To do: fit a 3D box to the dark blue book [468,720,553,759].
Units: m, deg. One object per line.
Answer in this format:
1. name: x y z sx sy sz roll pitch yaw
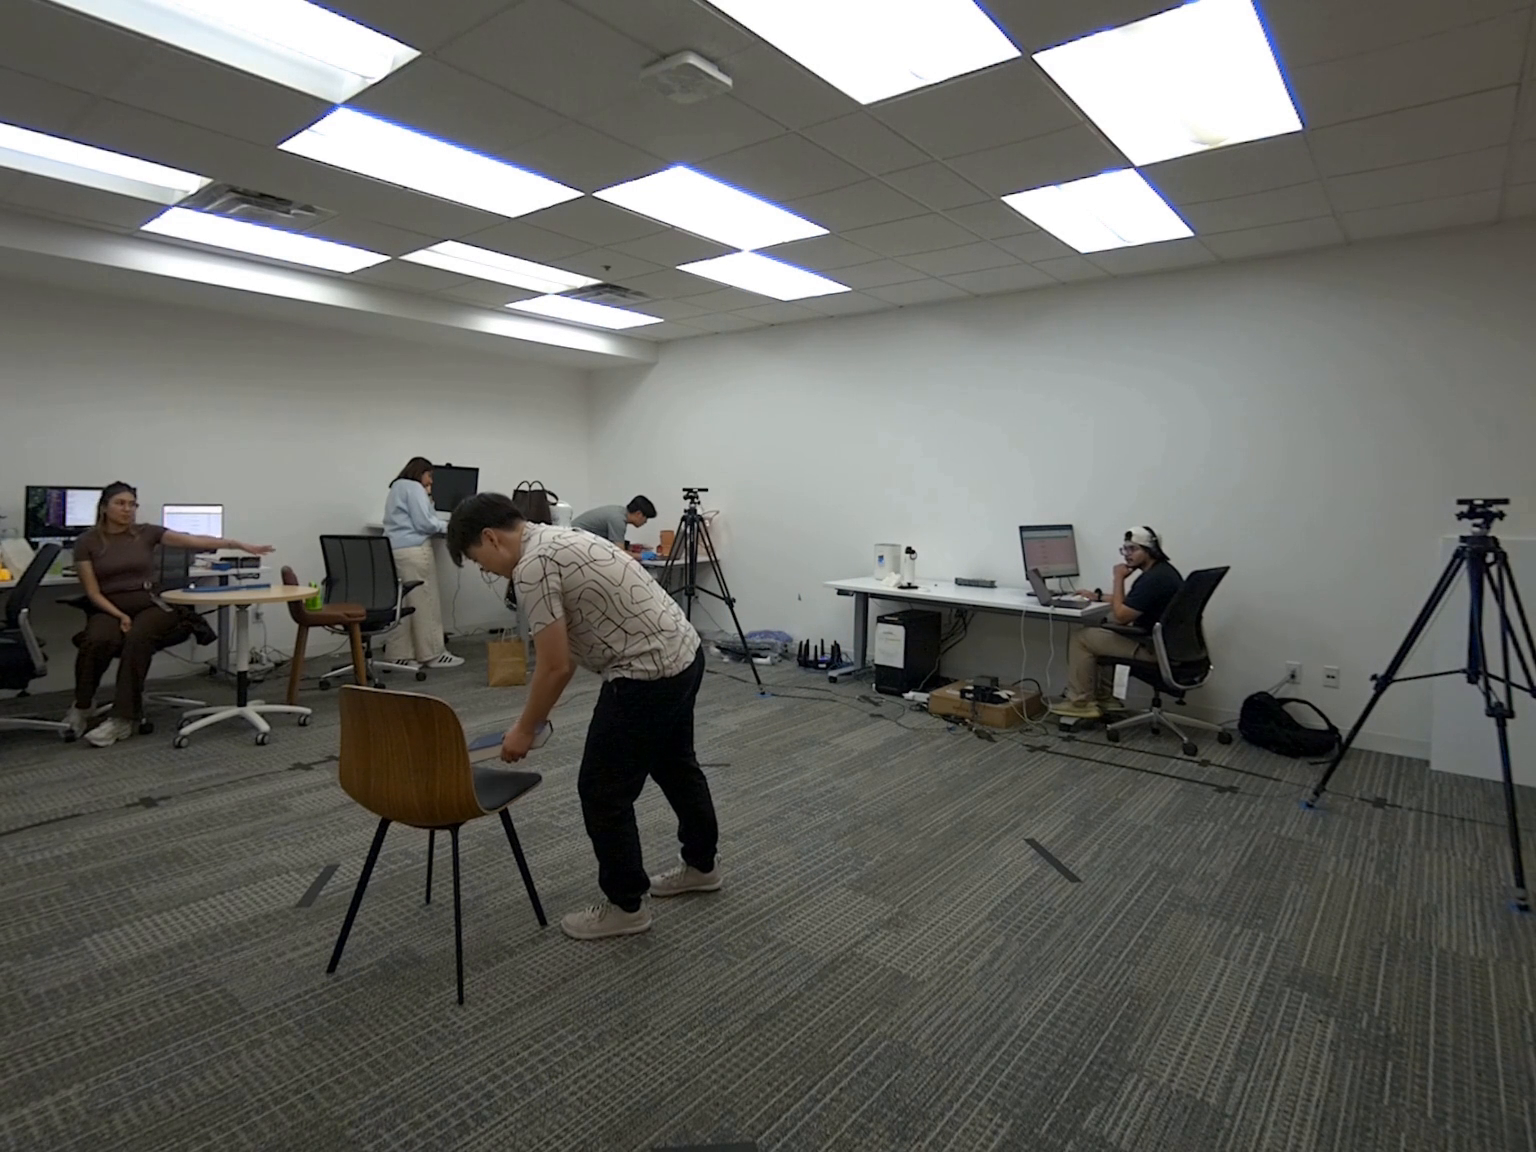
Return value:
1. dark blue book: -0.824 0.516 2.658 0.245 0.045 0.164 -10 5 1
